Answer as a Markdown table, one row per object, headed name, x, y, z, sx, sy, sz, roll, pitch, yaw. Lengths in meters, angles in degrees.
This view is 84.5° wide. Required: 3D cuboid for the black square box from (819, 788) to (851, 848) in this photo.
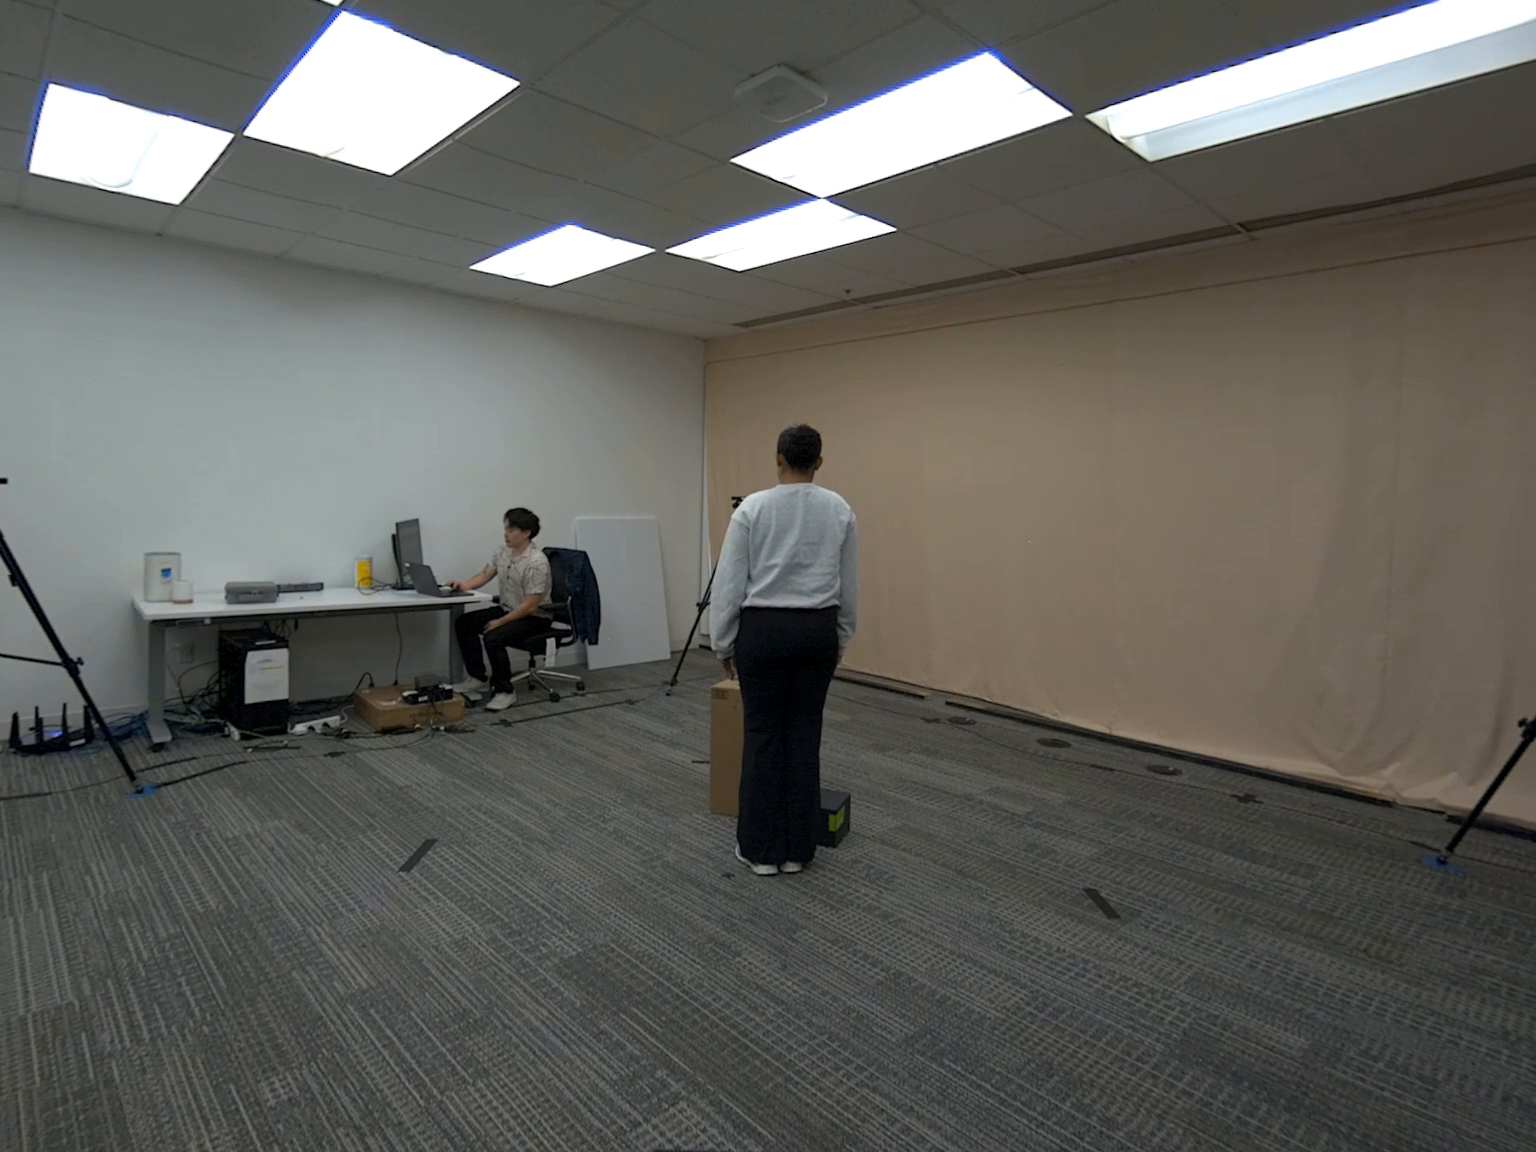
| name | x | y | z | sx | sy | sz | roll | pitch | yaw |
| --- | --- | --- | --- | --- | --- | --- | --- | --- | --- |
| black square box | 0.203 | 0.999 | 3.511 | 0.221 | 0.155 | 0.224 | 3 | 4 | 21 |
